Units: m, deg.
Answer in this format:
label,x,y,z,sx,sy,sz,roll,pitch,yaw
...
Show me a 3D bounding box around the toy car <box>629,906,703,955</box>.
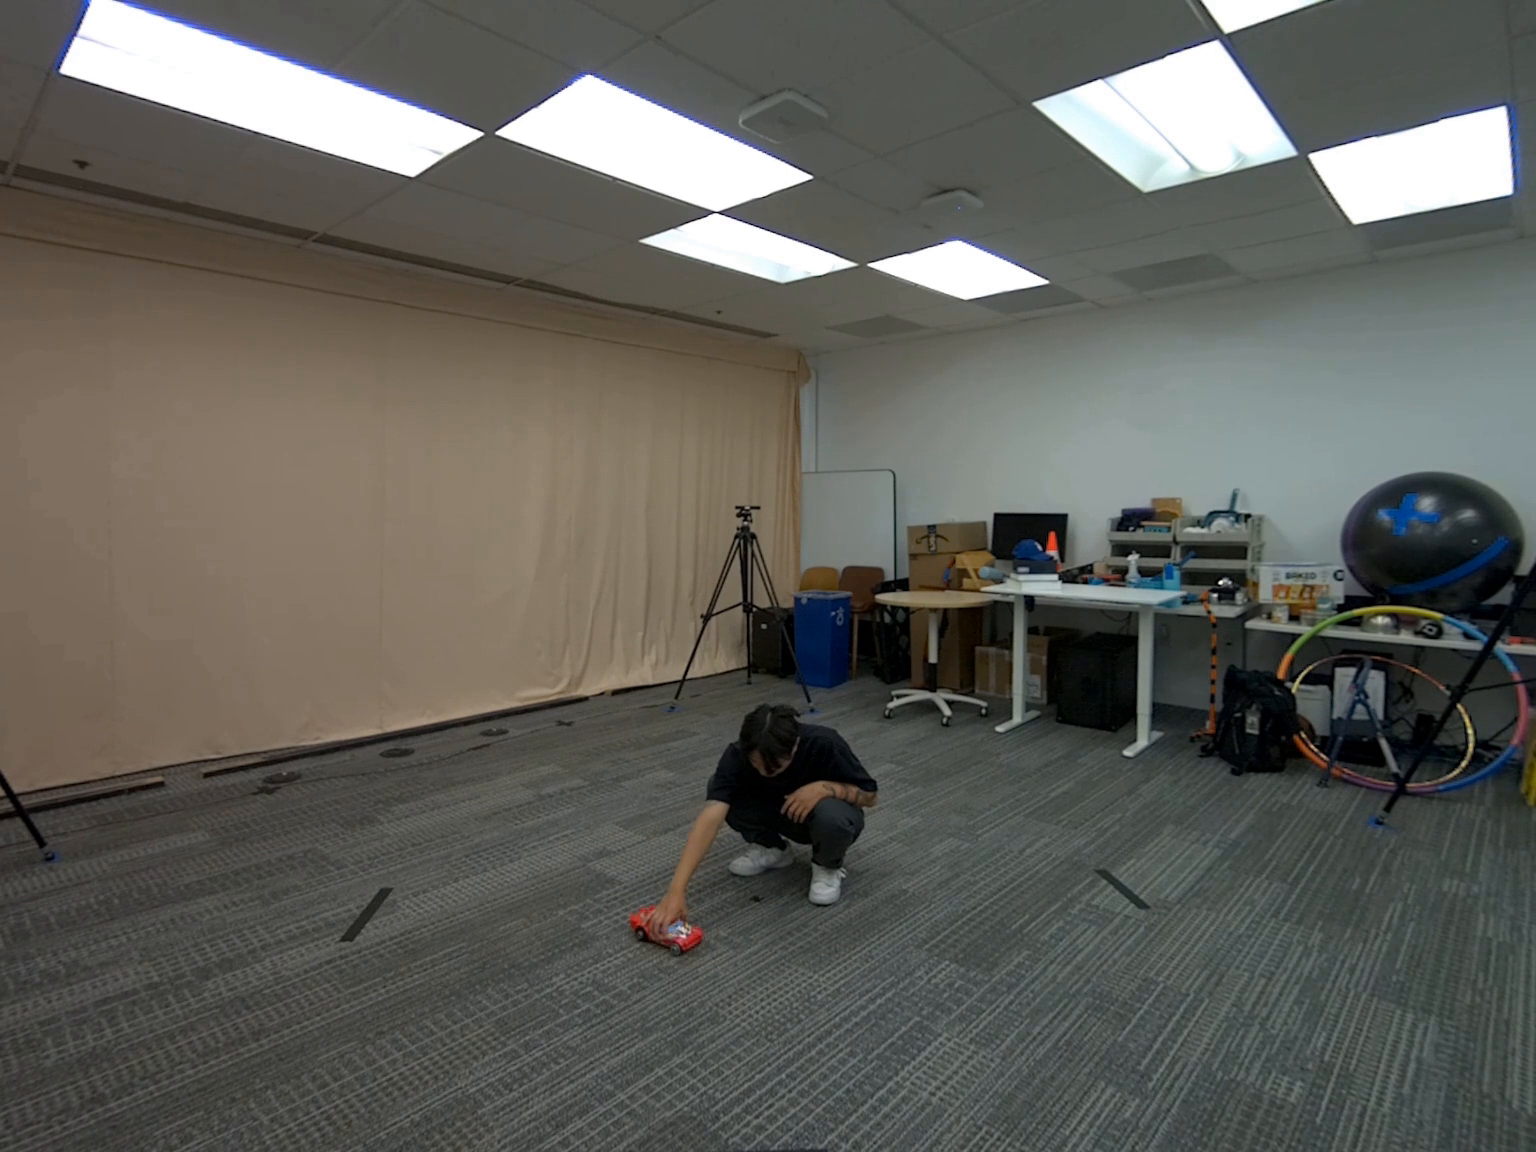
label,x,y,z,sx,sy,sz,roll,pitch,yaw
toy car,-0.334,1.137,2.706,0.263,0.083,0.126,15,13,35
